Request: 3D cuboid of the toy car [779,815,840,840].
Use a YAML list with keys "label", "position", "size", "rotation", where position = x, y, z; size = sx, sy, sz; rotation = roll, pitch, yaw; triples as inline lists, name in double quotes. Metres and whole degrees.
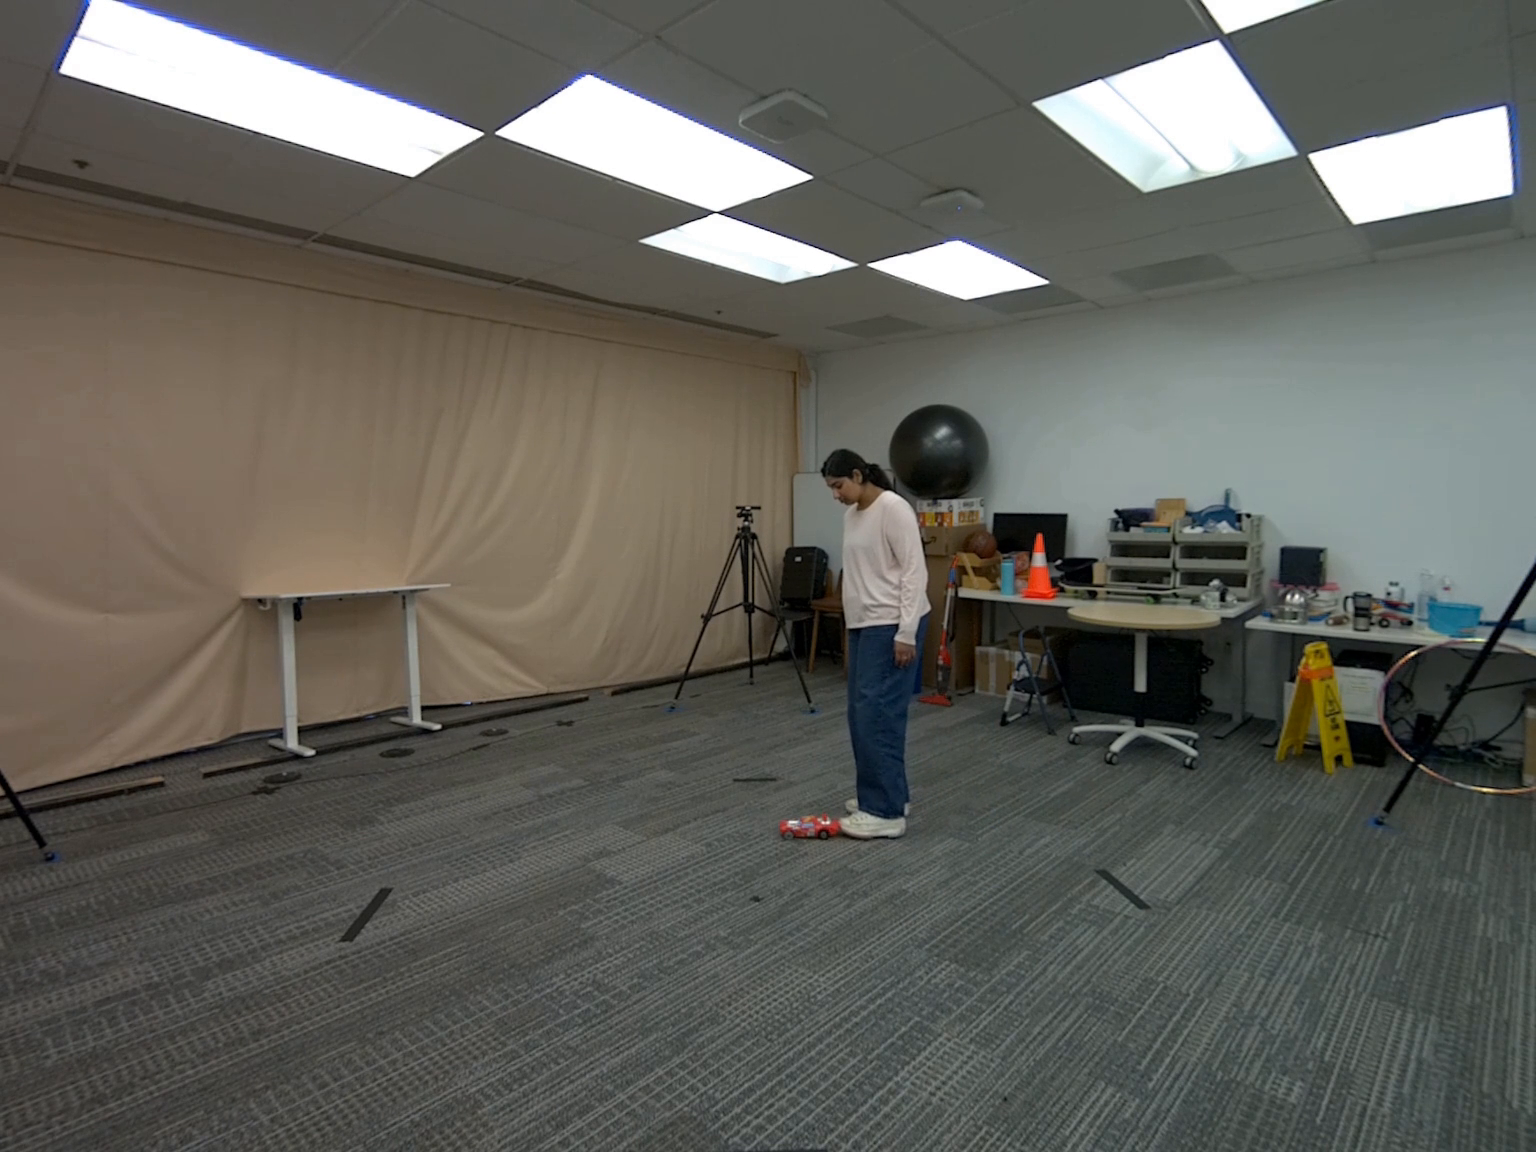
- label: "toy car"
  position: [0.180, 1.064, 3.558]
  size: [0.254, 0.083, 0.131]
  rotation: [-12, 6, 0]
